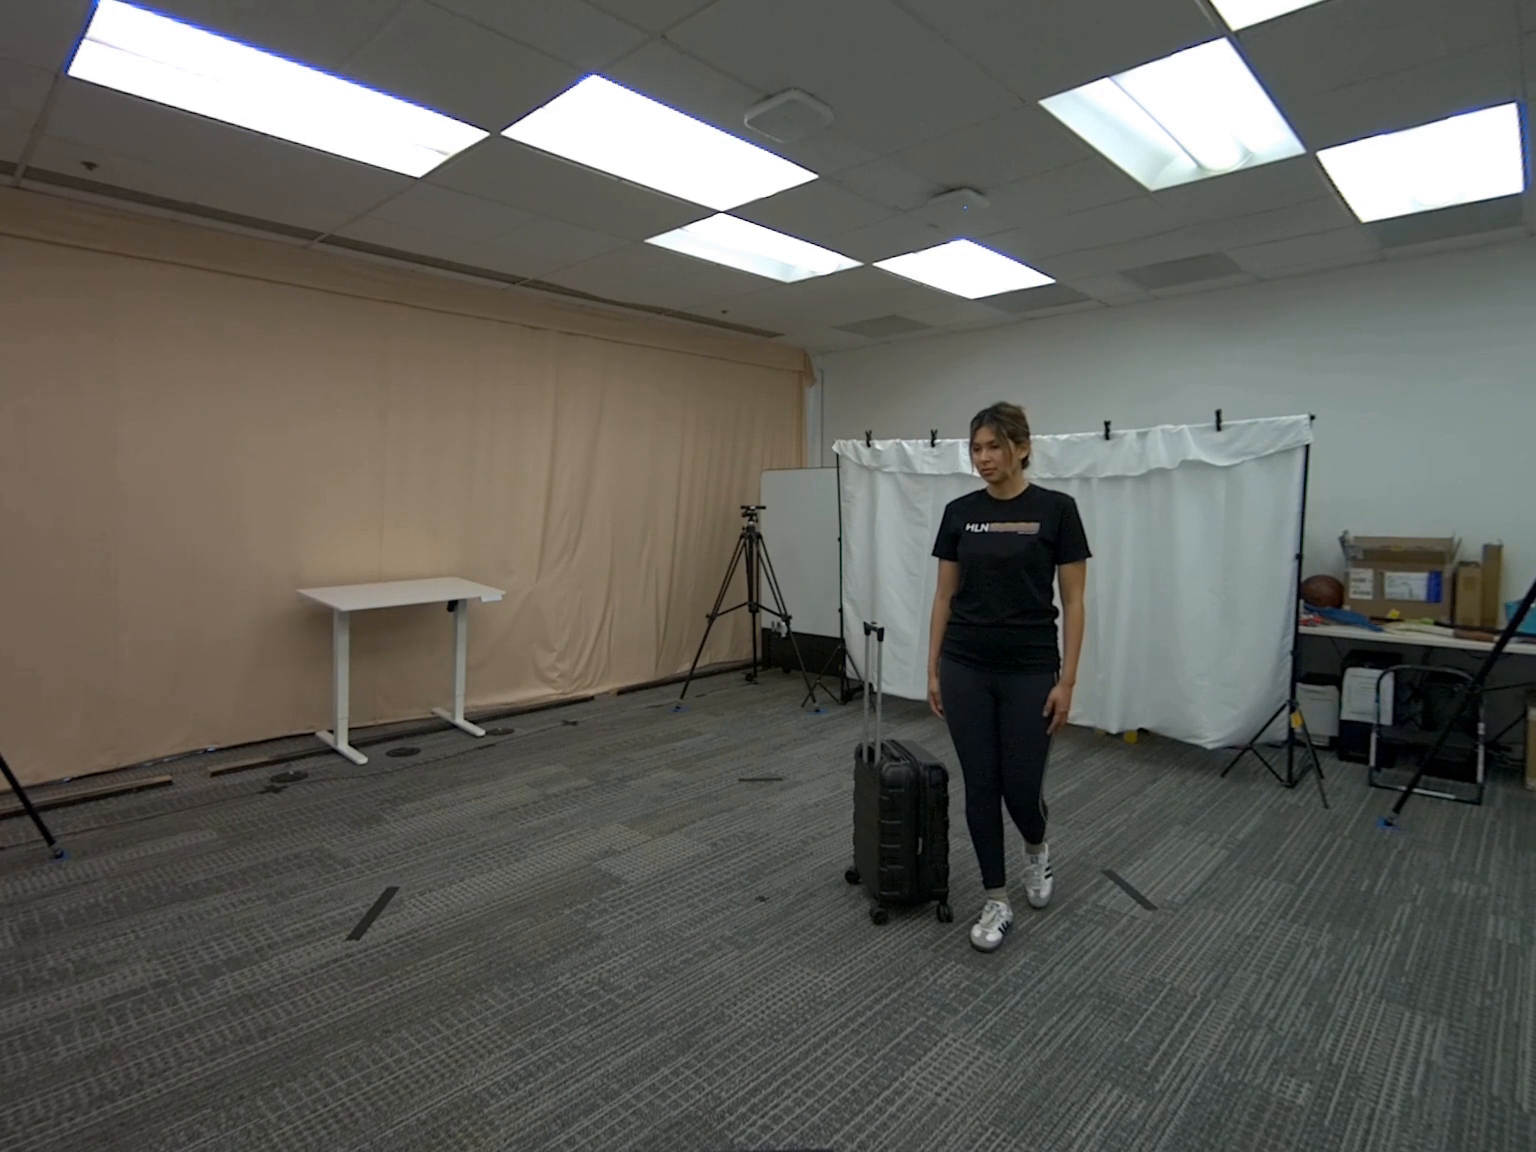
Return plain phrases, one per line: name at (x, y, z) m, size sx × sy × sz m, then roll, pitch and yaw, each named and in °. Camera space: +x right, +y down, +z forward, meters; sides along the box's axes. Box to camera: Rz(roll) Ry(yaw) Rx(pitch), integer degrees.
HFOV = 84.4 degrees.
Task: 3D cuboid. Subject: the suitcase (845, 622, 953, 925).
suitcase at (0.473, 0.669, 2.948) m, size 0.255 × 0.976 × 0.387 m, roll 2°, pitch 3°, yaw -7°
